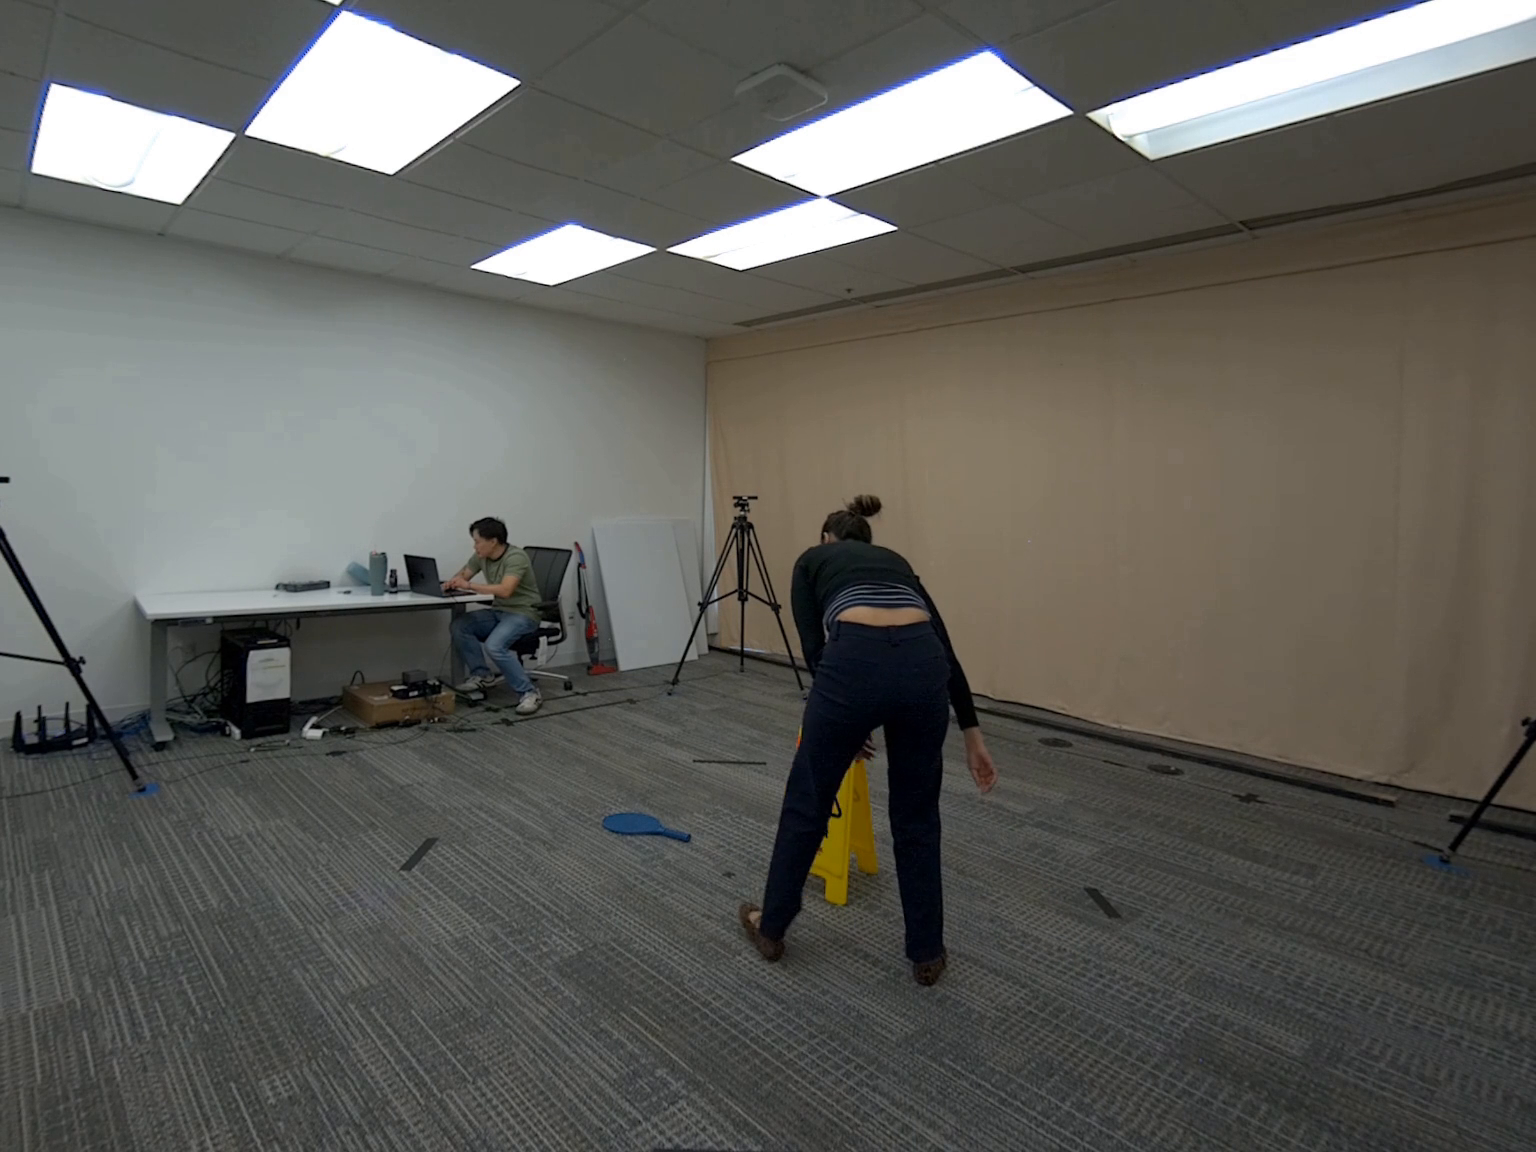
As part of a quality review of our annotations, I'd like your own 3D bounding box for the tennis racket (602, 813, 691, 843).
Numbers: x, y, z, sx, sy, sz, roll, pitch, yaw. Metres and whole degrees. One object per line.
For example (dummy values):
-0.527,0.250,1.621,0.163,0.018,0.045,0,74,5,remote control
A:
-0.512,1.046,3.508,0.442,0.032,0.209,3,5,31,tennis racket
